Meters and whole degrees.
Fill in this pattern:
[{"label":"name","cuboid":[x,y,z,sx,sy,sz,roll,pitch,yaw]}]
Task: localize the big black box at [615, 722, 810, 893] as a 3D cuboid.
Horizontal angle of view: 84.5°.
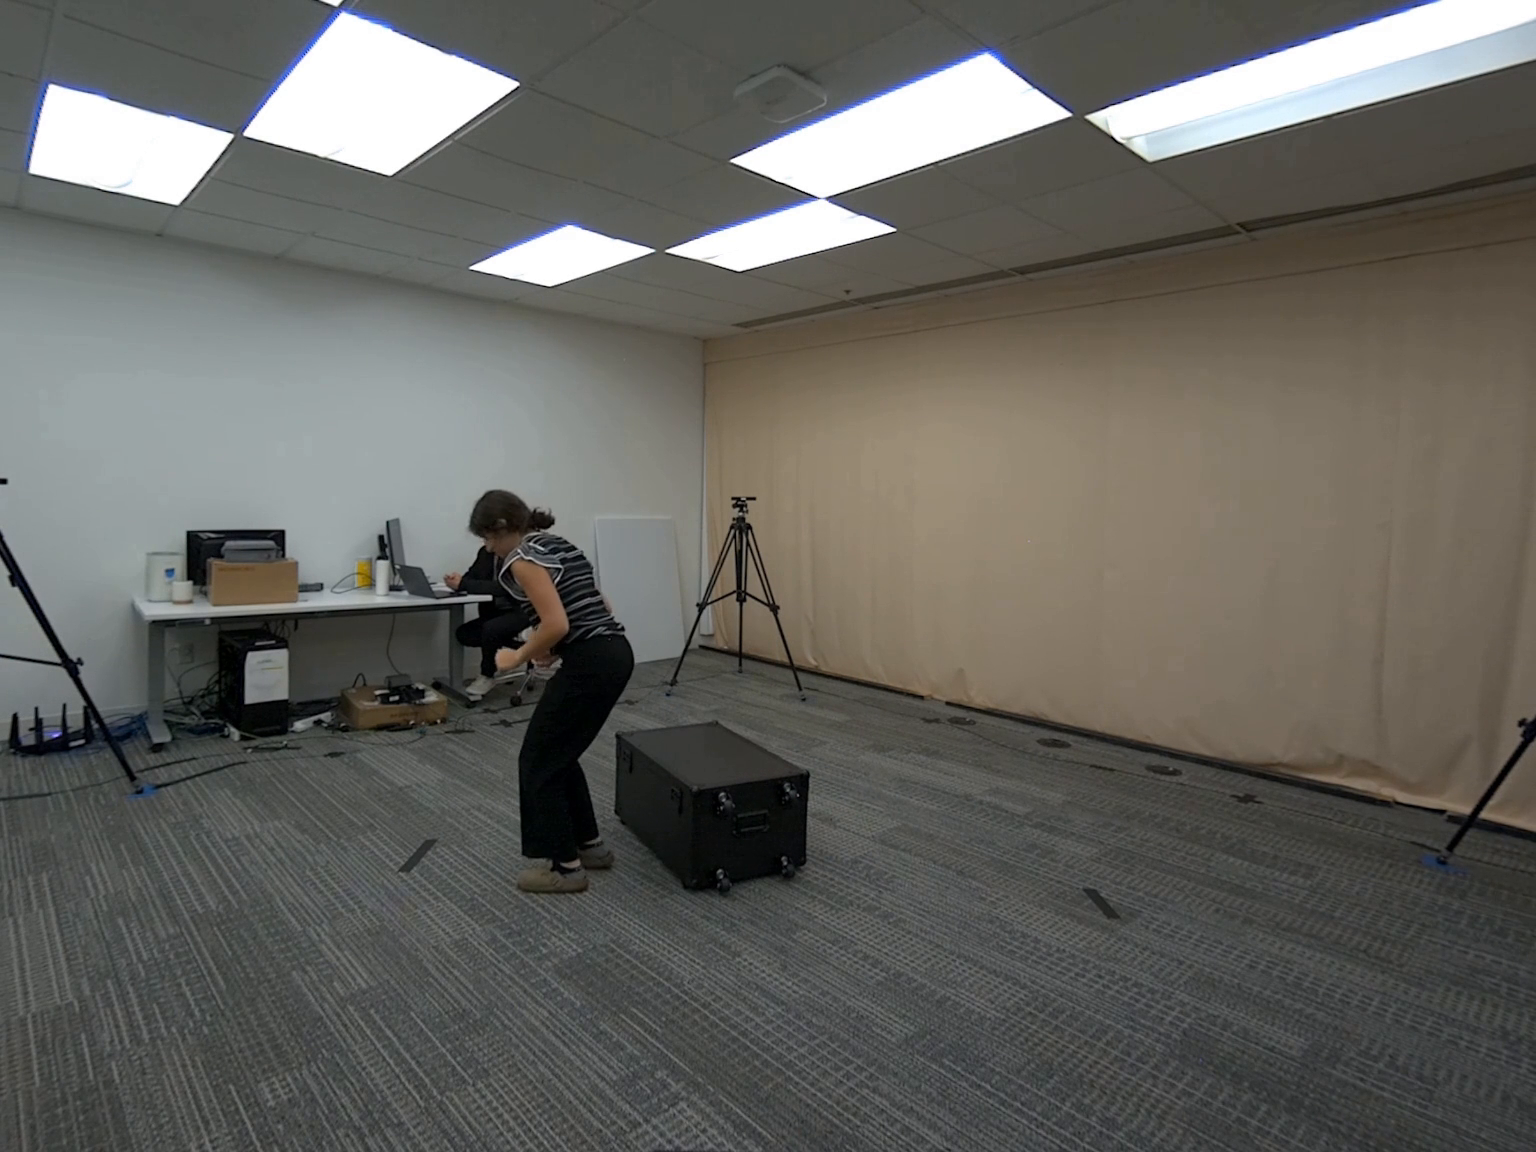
[{"label":"big black box","cuboid":[-0.246,0.892,3.358,0.511,0.395,0.881,-1,5,-29]}]
